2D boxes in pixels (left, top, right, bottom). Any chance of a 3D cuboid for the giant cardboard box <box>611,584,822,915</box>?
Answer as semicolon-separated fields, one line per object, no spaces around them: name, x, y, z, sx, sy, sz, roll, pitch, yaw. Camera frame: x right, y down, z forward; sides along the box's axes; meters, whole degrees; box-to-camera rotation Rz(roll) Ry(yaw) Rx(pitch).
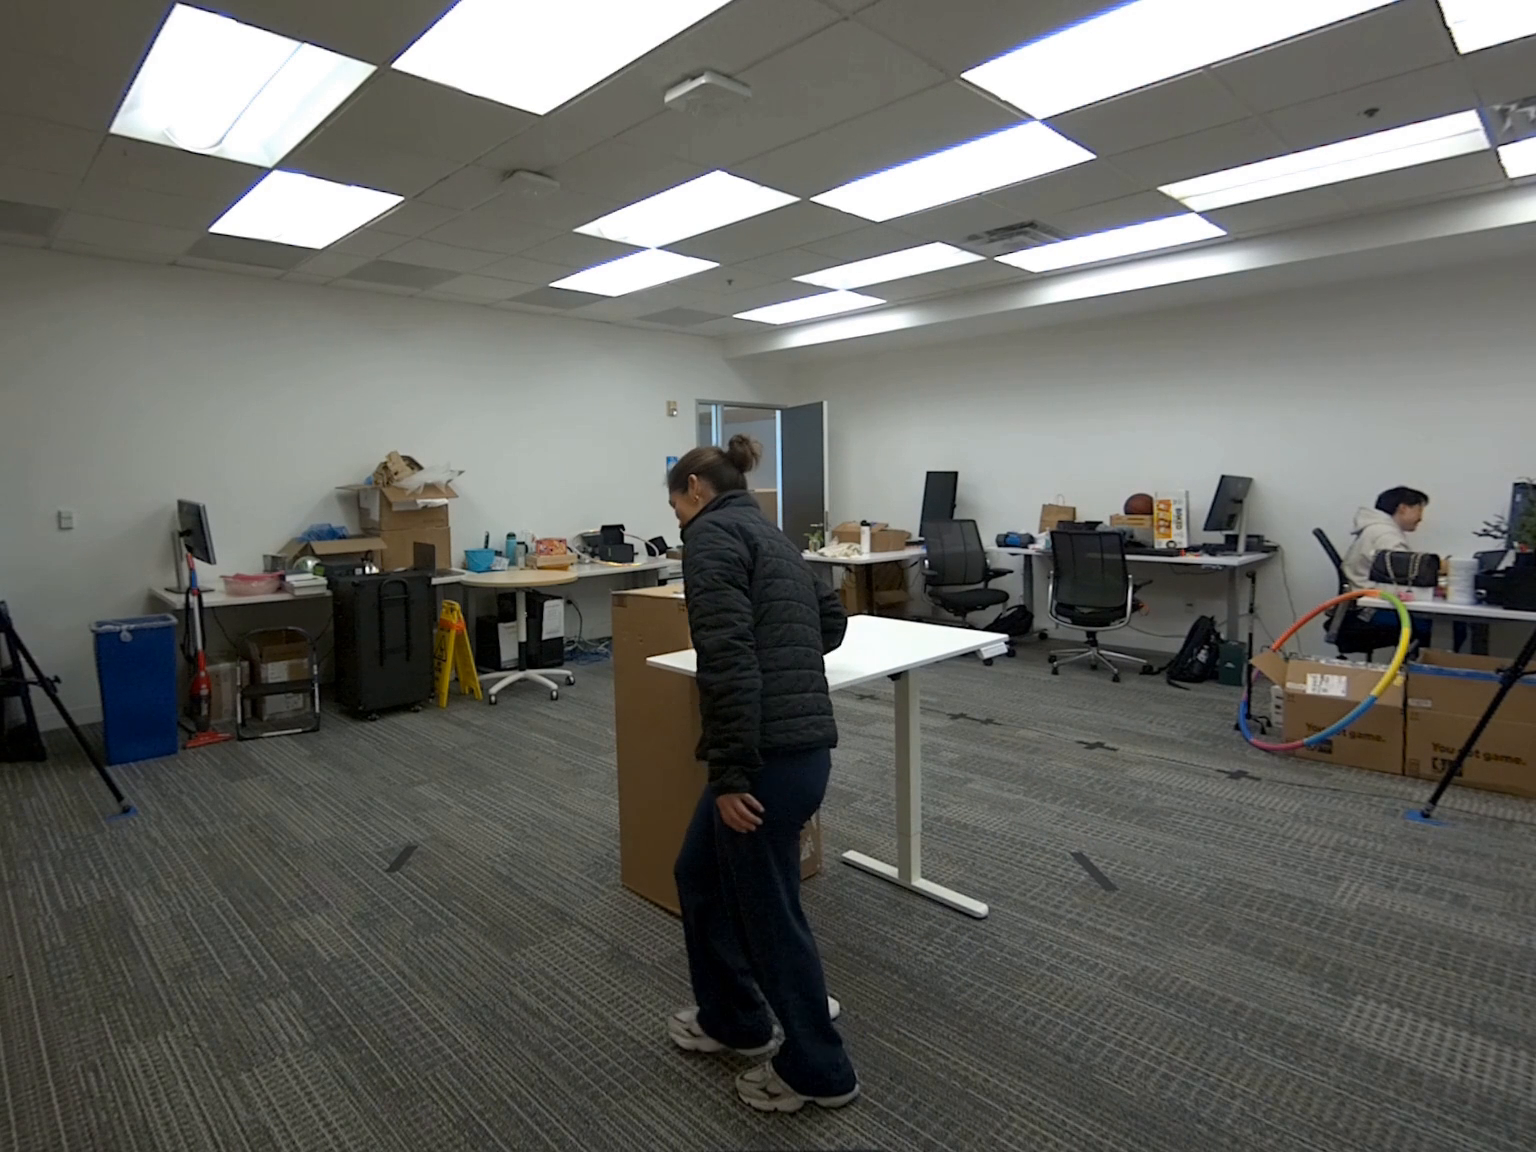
giant cardboard box;-0.175;0.544;2.983;0.568;1.025;0.460;-4;3;-43
